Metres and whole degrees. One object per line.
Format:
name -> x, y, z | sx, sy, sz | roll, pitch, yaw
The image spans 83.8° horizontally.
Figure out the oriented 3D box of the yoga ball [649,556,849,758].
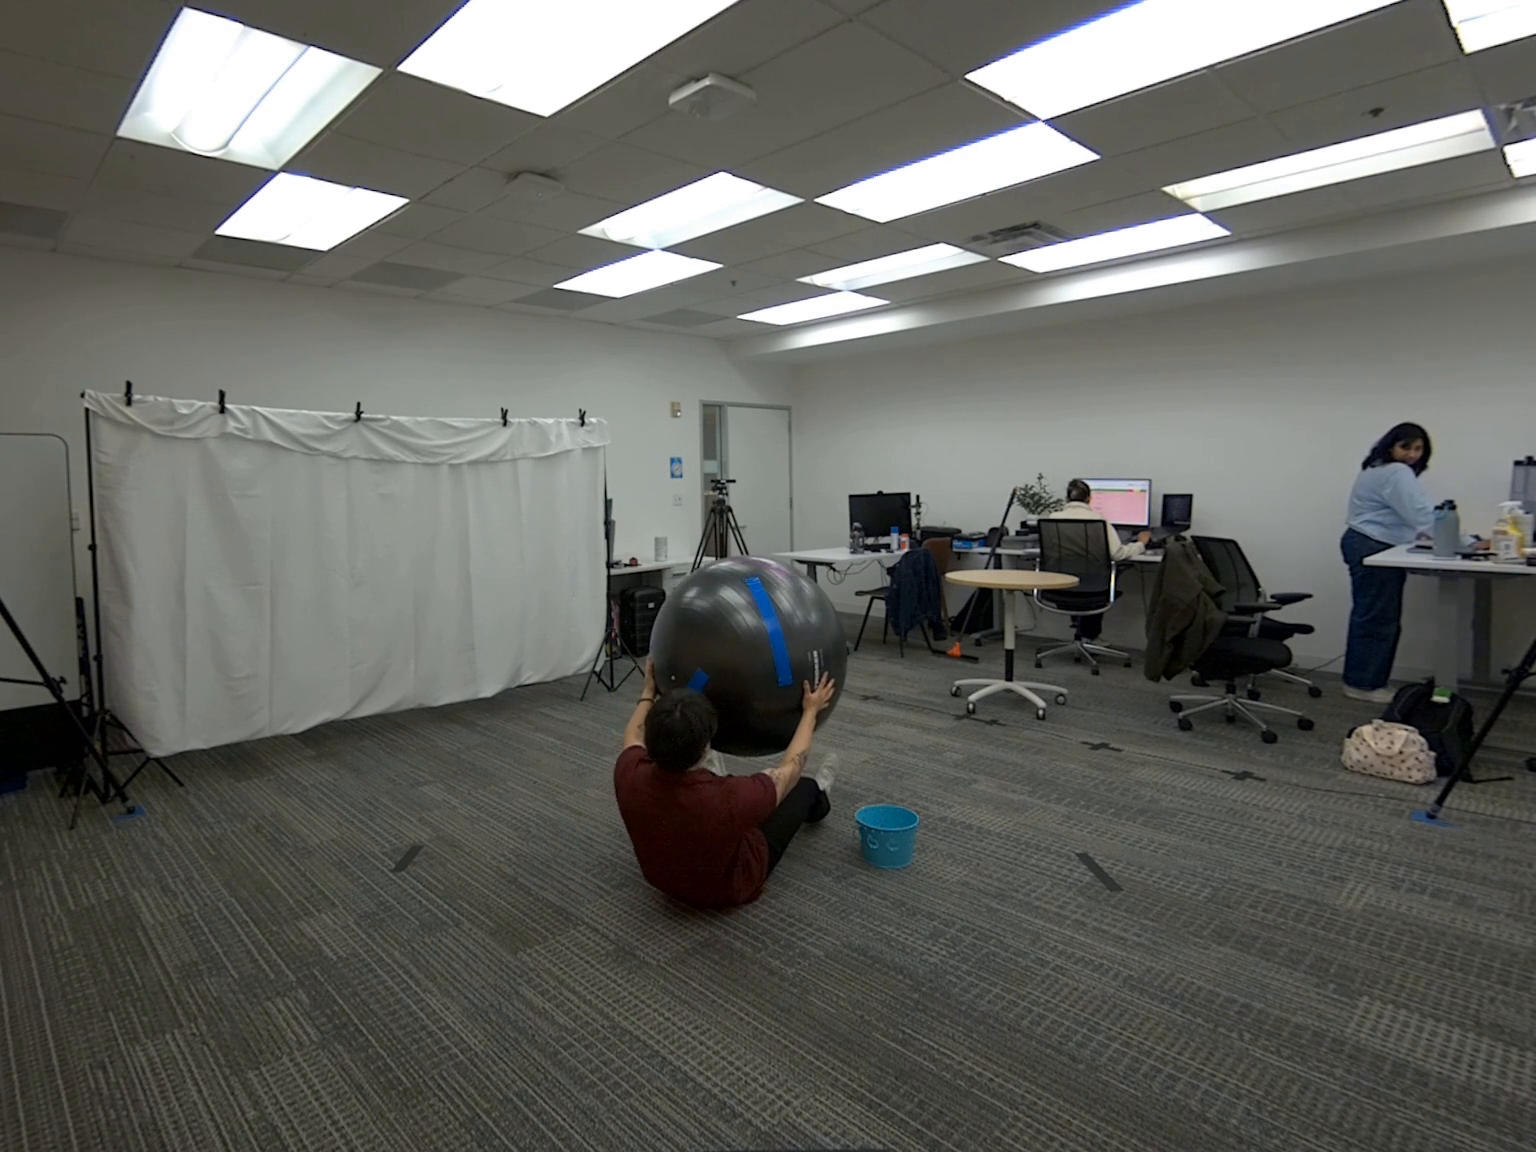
yoga ball -> -0.076, 0.311, 3.282 | 0.757, 0.755, 0.762 | -1, 5, -2
